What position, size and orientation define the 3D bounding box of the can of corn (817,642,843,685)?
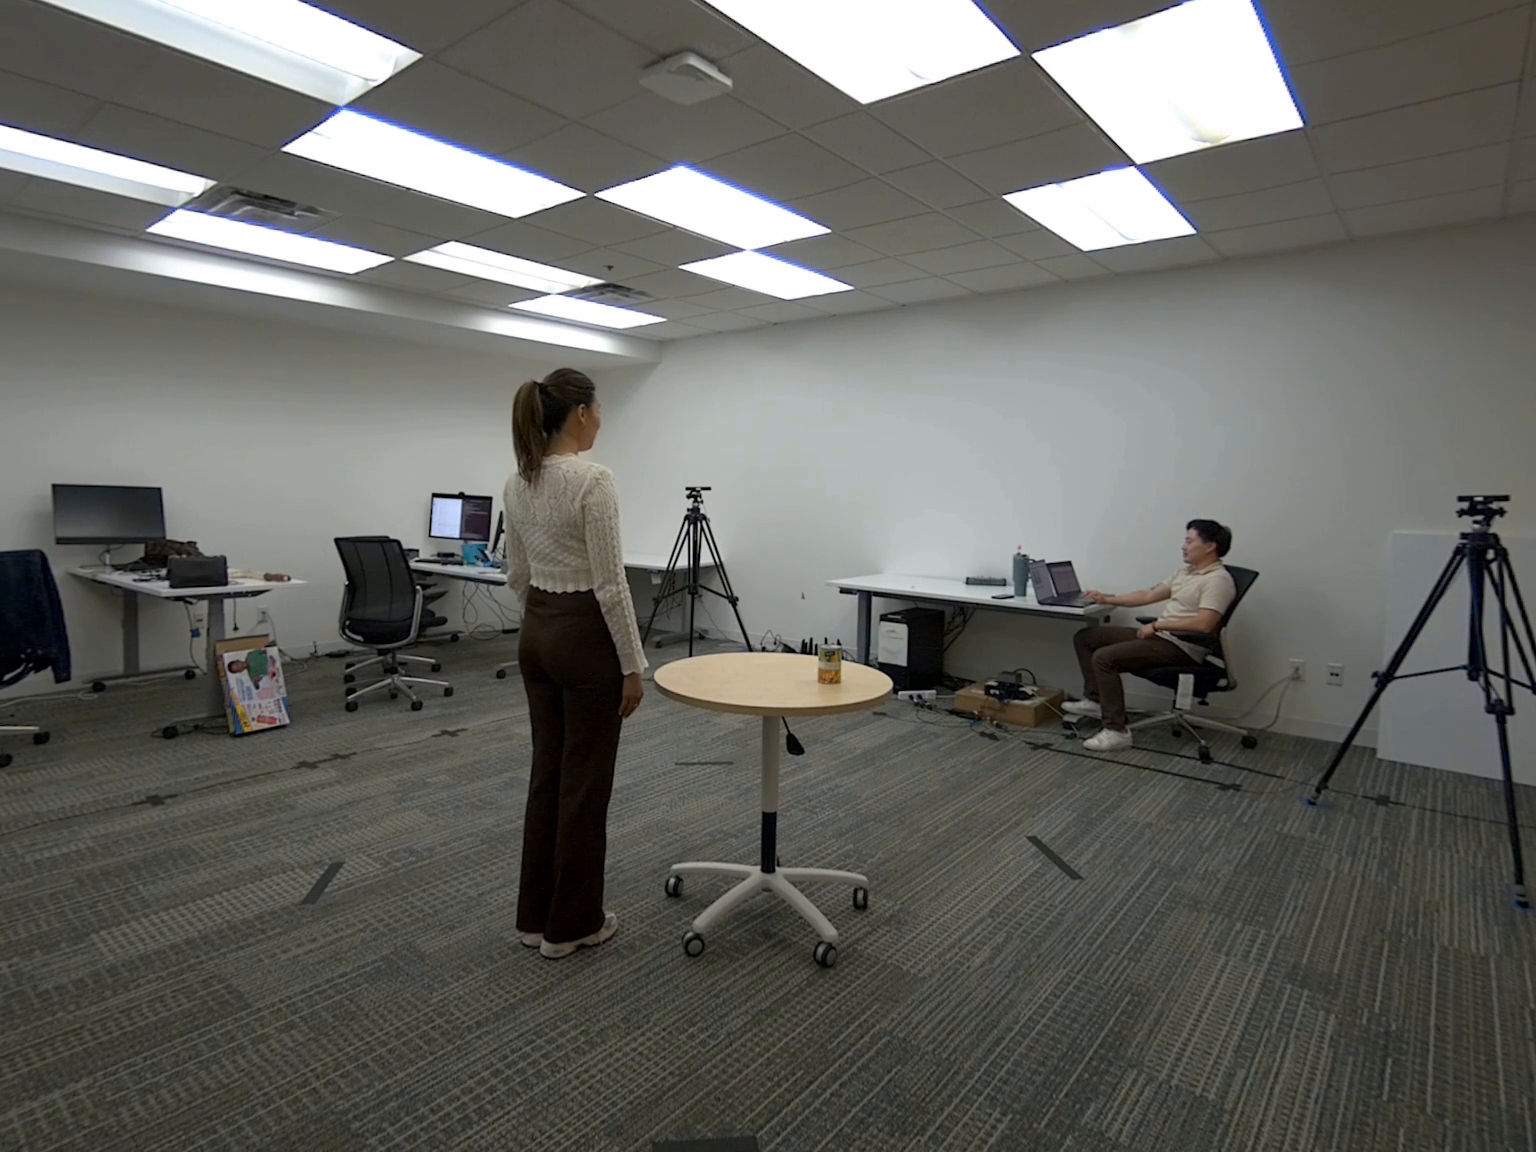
[{"bbox_3d":[0.189,0.279,2.686,0.074,0.110,0.075,1,6,-2],"label":"can of corn"}]
